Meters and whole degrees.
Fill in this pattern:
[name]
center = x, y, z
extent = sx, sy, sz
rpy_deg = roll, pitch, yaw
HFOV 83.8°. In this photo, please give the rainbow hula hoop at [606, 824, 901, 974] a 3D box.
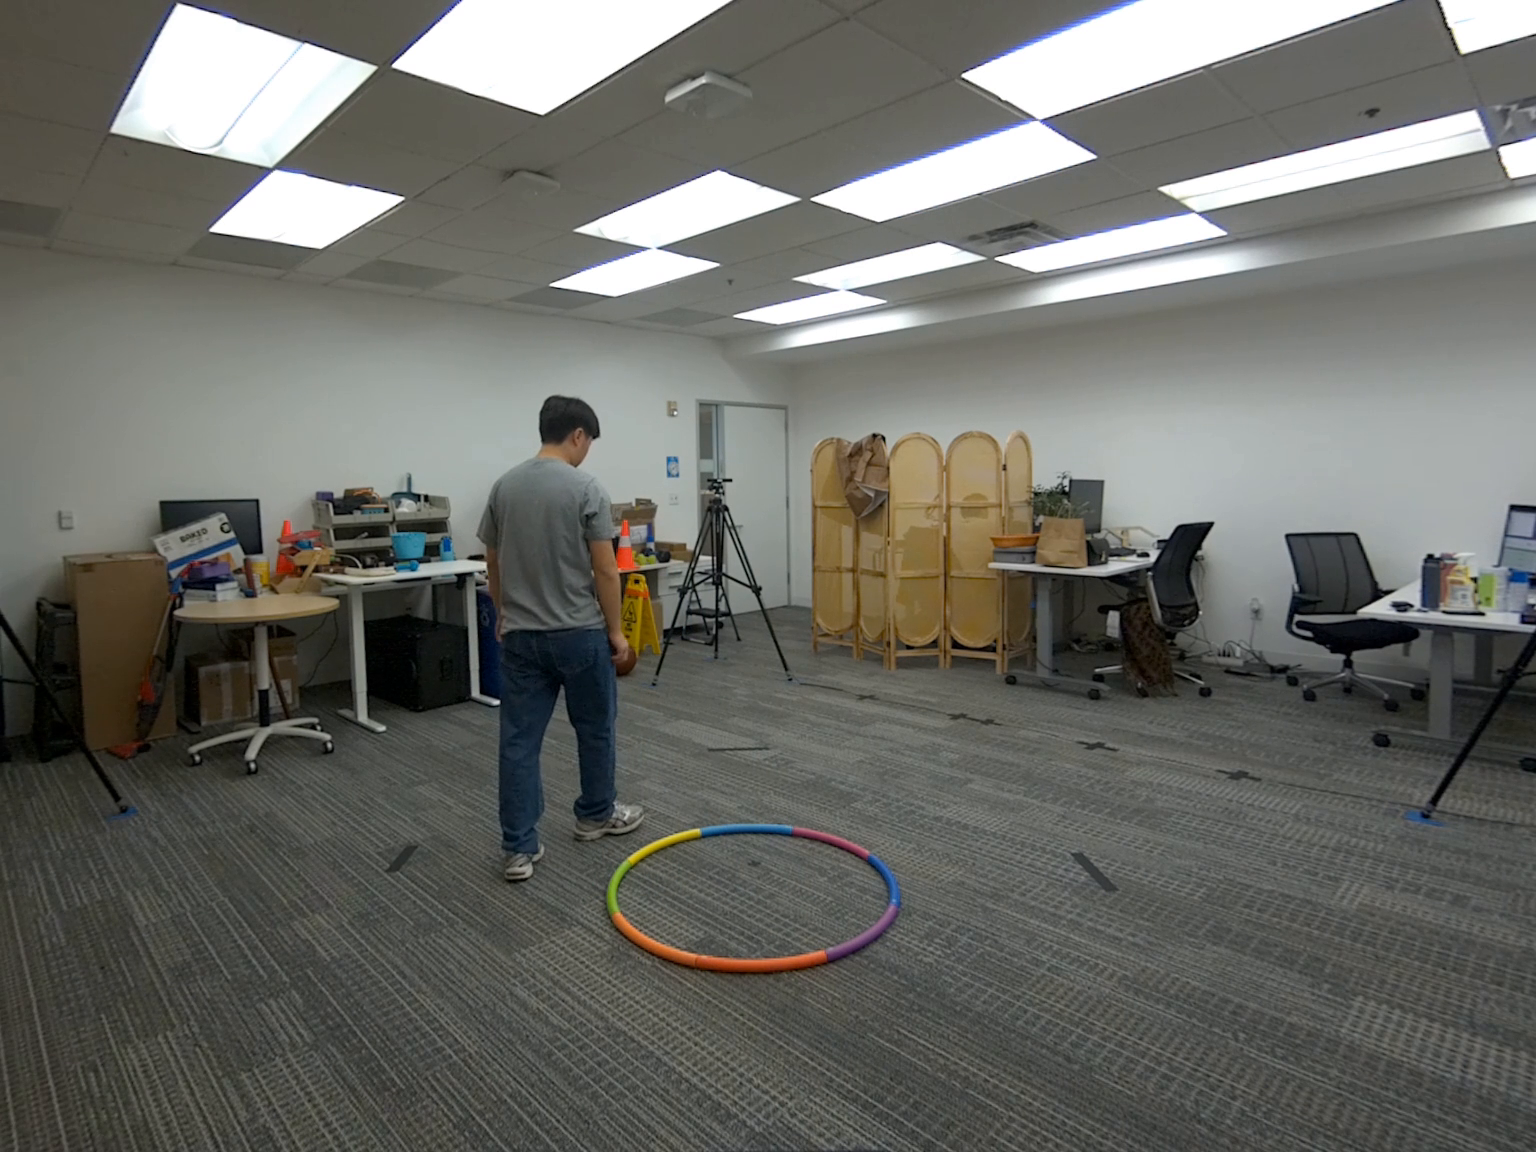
[rainbow hula hoop]
center = -0.056, 1.035, 2.900
extent = 0.978, 0.035, 0.985
rpy_deg = -1, 7, -2
